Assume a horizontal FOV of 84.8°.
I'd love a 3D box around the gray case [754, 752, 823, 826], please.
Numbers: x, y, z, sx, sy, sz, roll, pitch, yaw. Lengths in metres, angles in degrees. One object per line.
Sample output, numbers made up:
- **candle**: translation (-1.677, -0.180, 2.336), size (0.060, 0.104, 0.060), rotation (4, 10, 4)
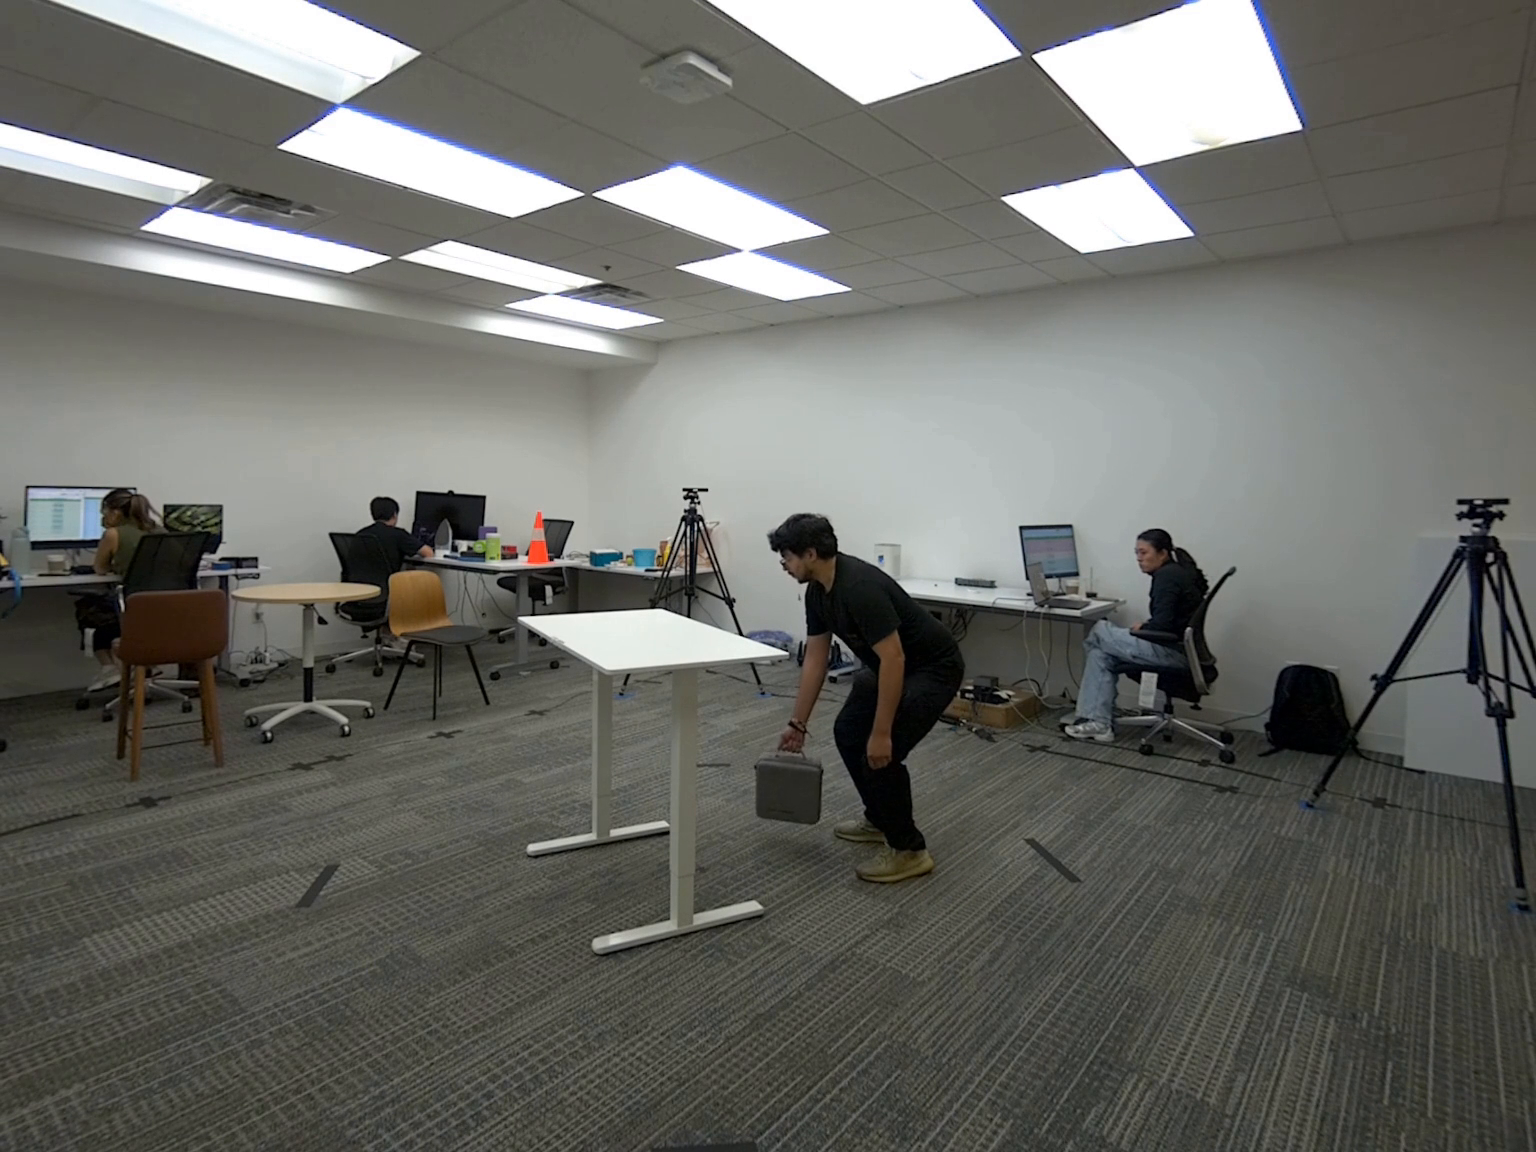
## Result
- **gray case**: translation (0.072, 0.823, 3.337), size (0.259, 0.258, 0.104), rotation (4, 10, 8)
